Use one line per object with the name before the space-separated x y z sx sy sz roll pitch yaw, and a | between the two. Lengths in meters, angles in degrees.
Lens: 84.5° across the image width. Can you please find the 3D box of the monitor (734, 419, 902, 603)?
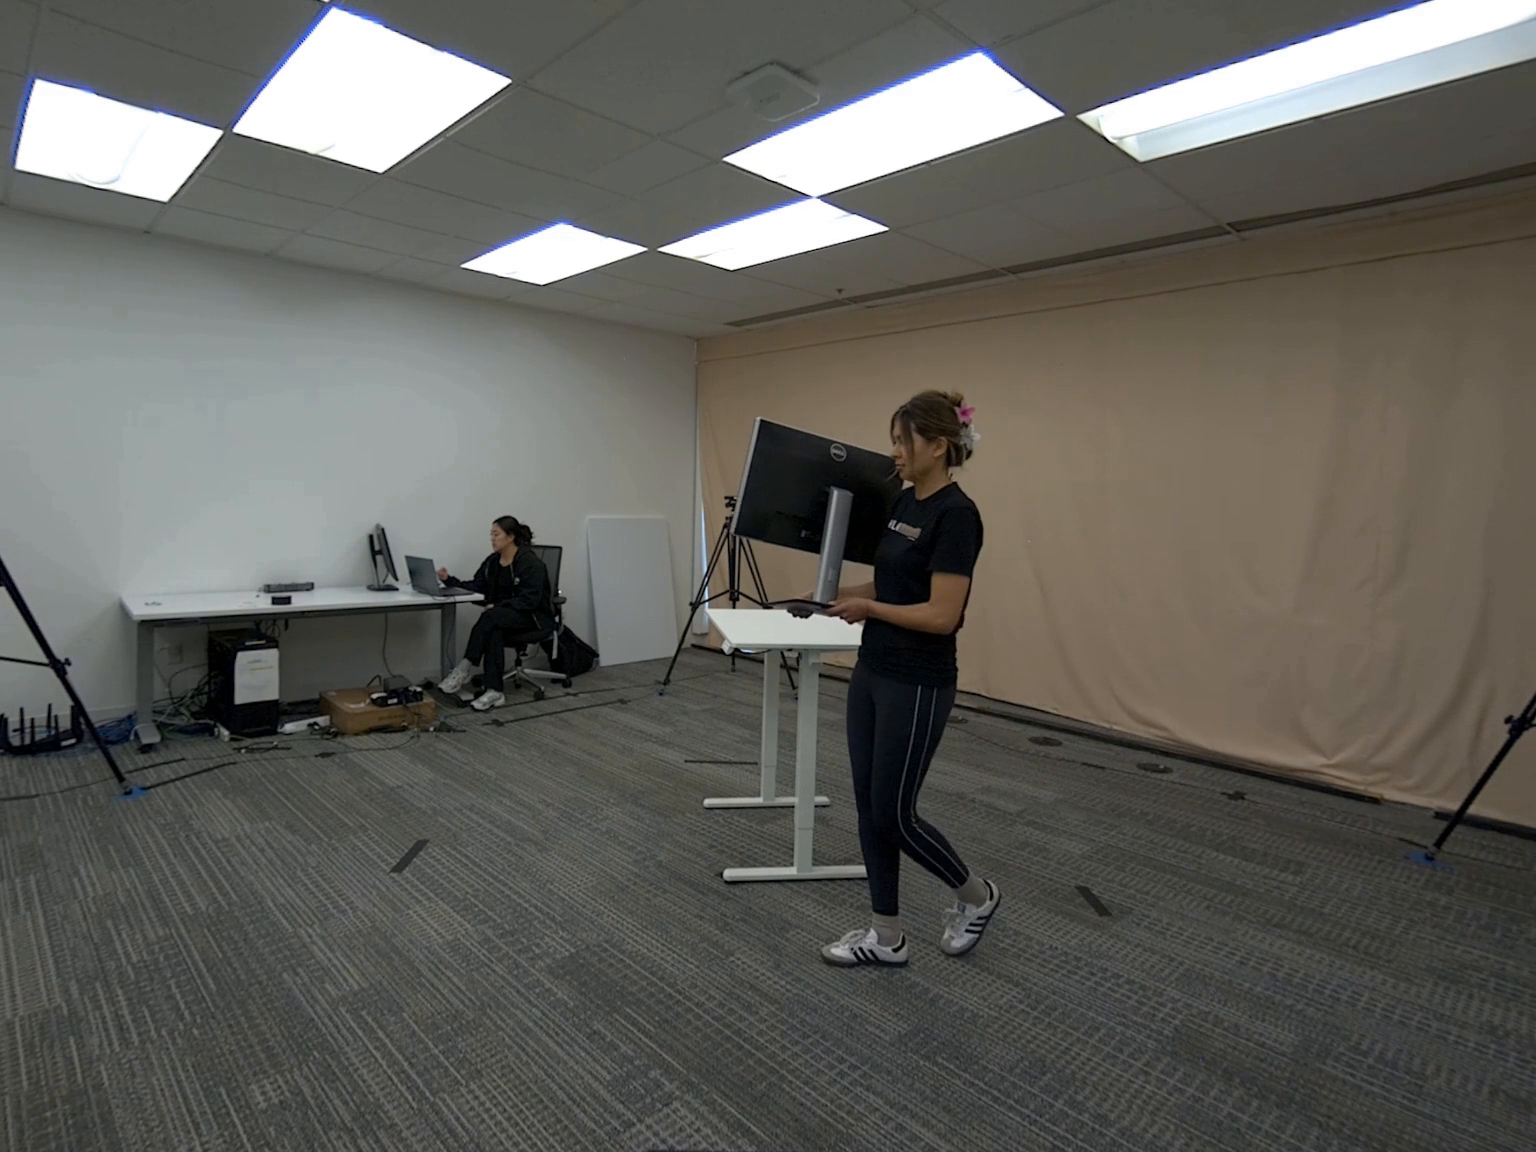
monitor | 0.172 -0.162 2.590 0.527 0.526 0.190 12 -11 -27
